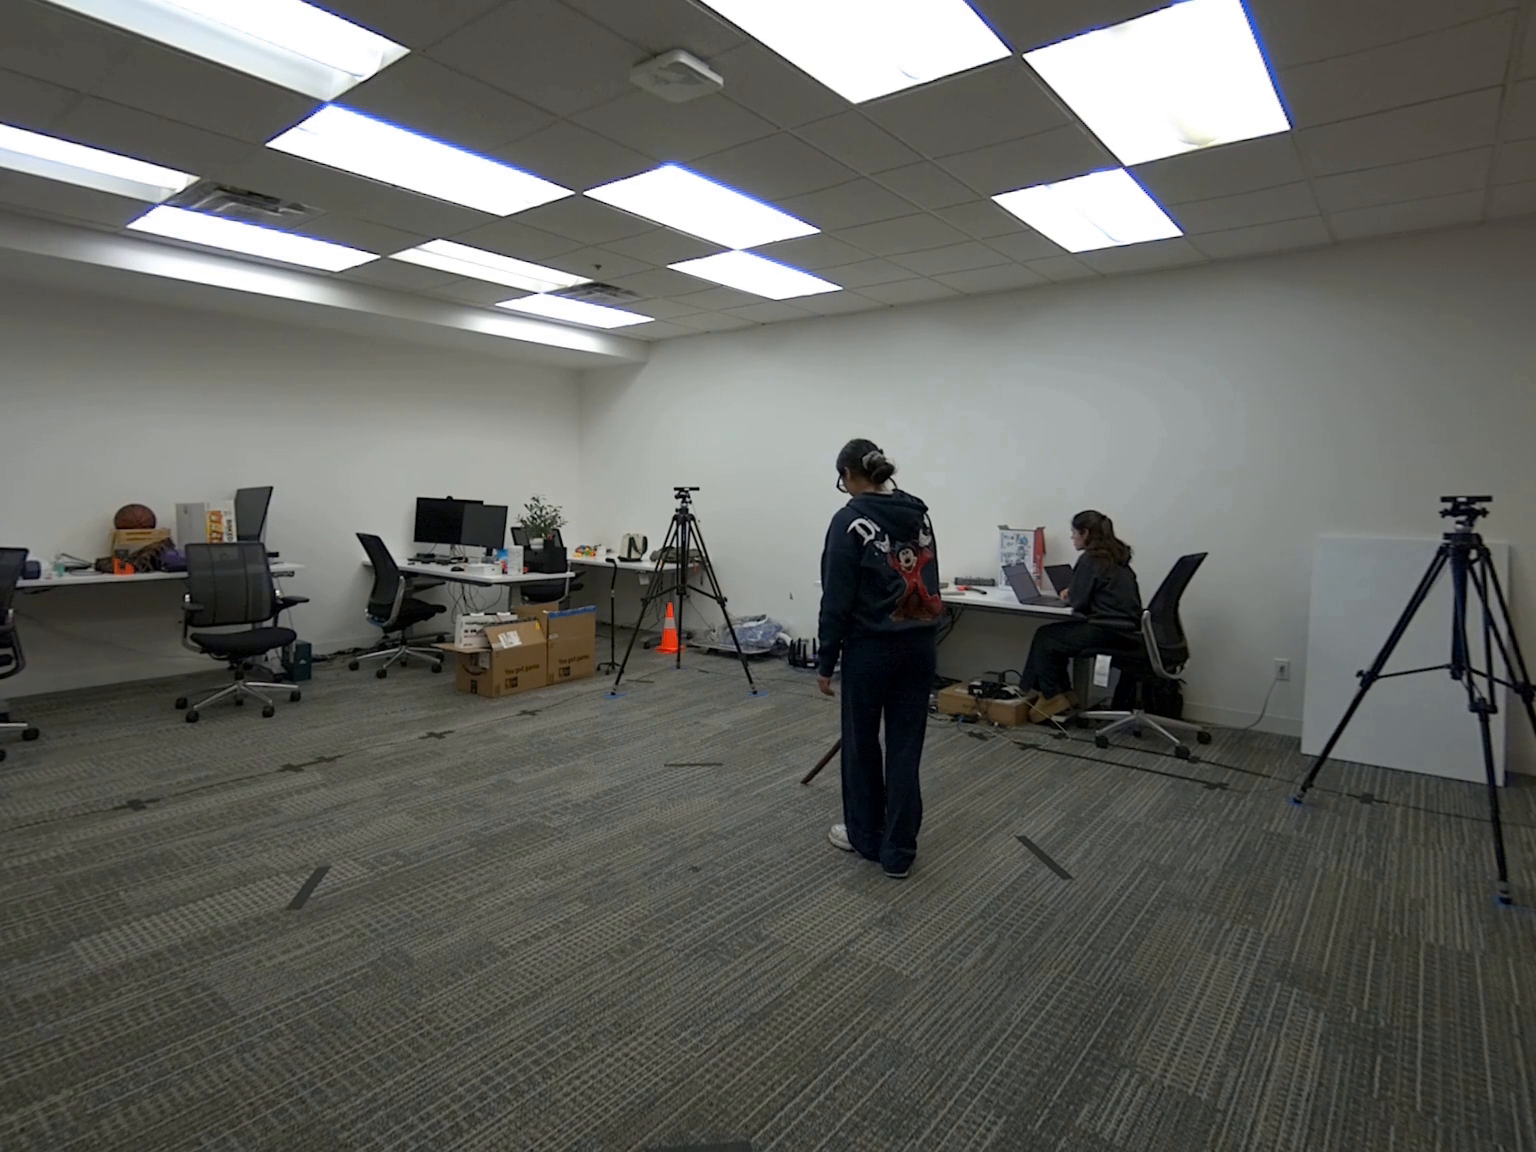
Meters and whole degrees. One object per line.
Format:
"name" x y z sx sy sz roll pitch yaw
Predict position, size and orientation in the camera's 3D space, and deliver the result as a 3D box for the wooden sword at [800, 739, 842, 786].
"wooden sword" 0.372 0.630 3.748 0.053 1.017 0.023 47 37 20
